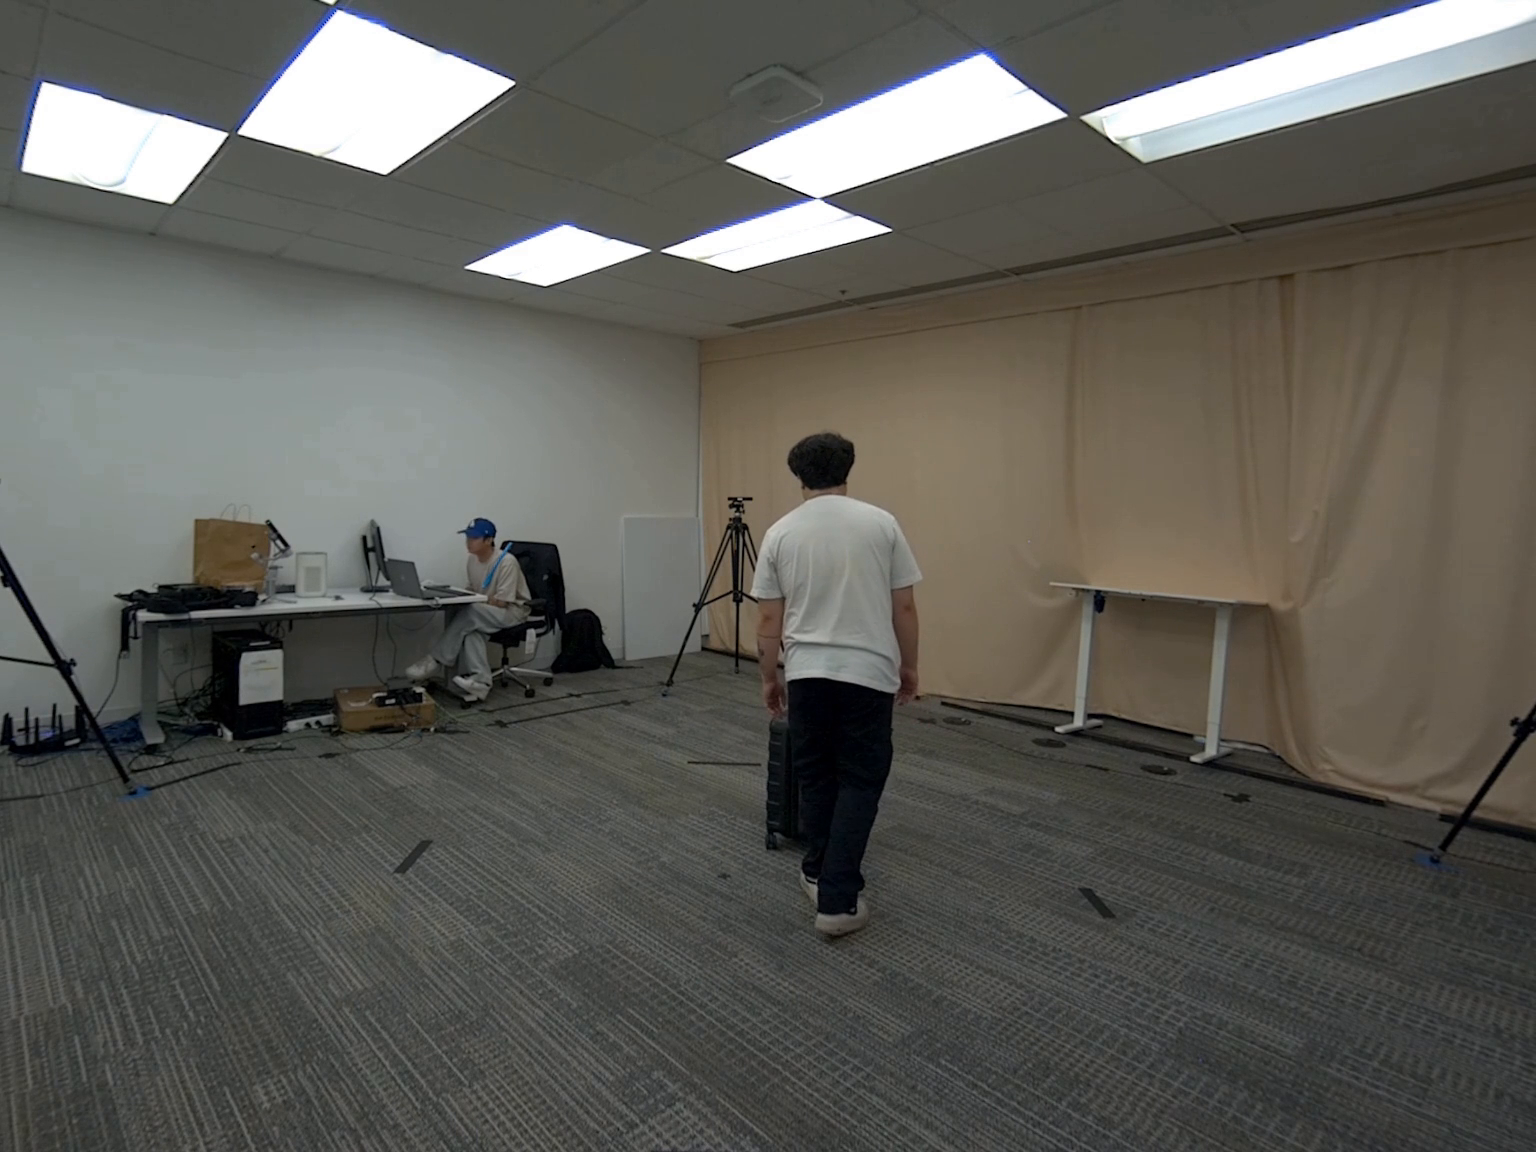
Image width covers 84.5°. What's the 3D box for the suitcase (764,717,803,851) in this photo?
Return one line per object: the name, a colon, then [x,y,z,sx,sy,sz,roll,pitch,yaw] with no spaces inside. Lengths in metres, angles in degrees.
suitcase: [0.159,0.612,3.454,0.262,0.979,0.376,-1,-1,27]
